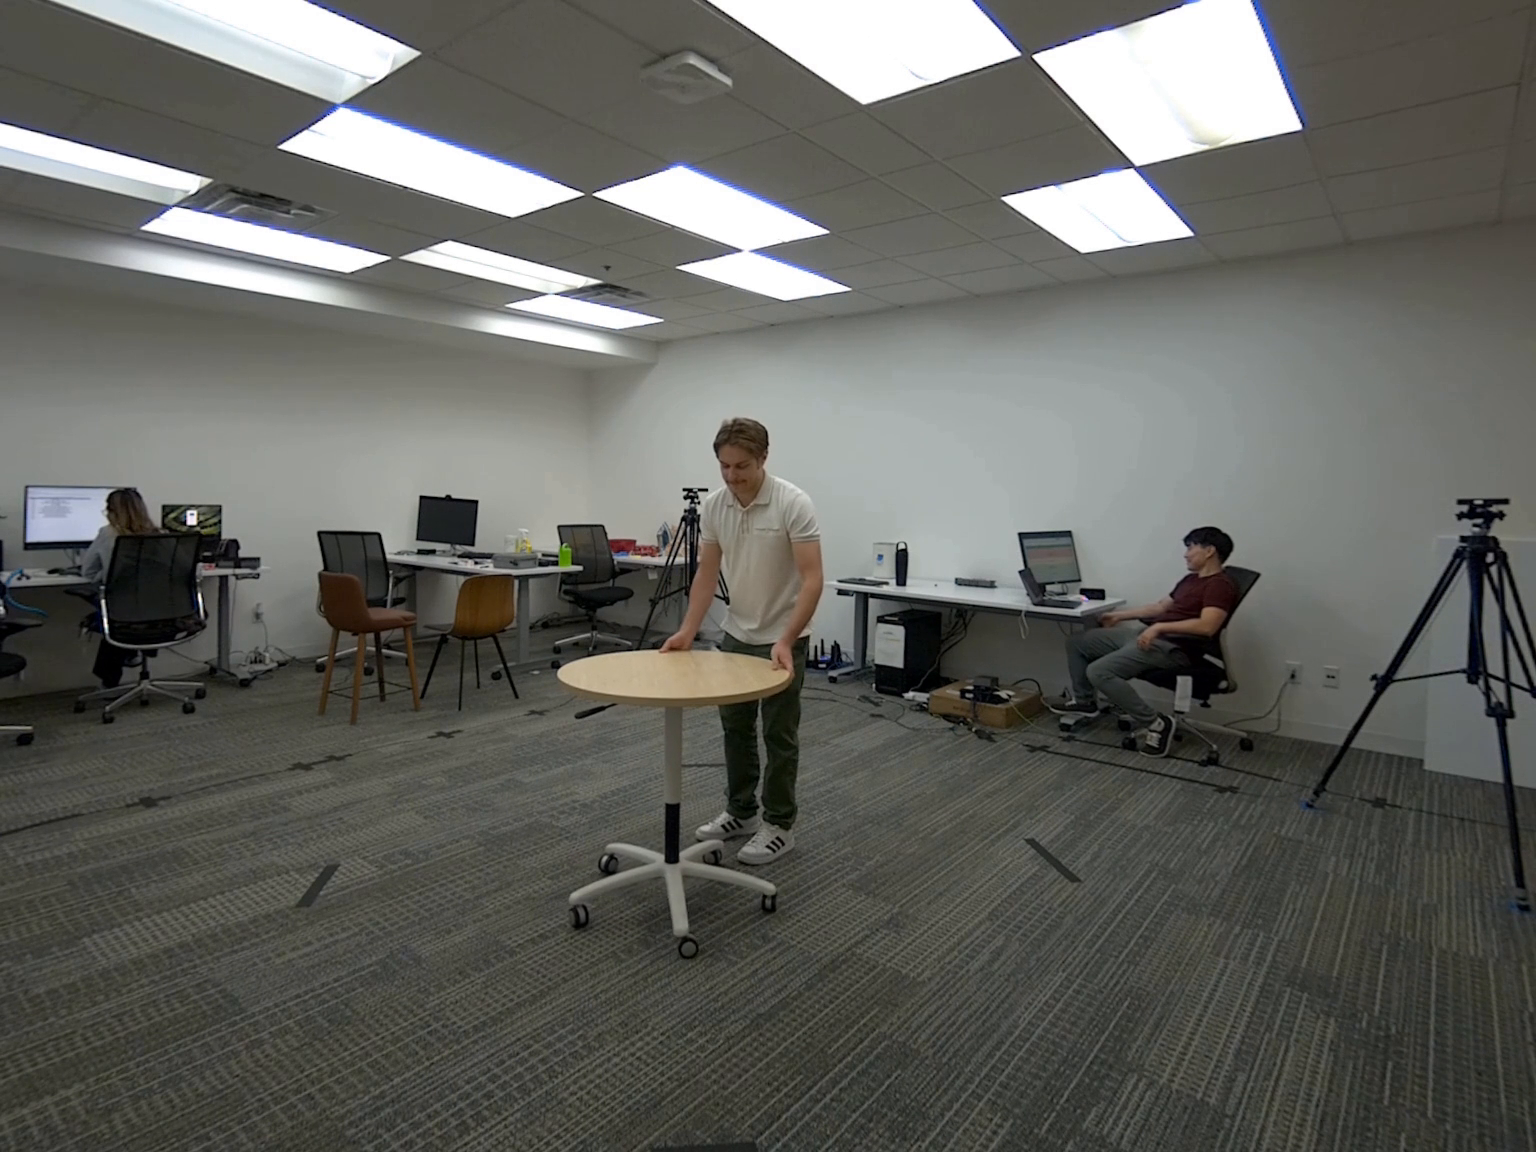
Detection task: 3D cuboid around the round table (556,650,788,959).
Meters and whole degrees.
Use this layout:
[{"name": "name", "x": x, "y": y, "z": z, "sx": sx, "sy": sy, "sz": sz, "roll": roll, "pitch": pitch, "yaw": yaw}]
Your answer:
[{"name": "round table", "x": -0.326, "y": 0.704, "z": 2.838, "sx": 0.763, "sy": 0.791, "sz": 0.767, "roll": 0, "pitch": 4, "yaw": -2}]
